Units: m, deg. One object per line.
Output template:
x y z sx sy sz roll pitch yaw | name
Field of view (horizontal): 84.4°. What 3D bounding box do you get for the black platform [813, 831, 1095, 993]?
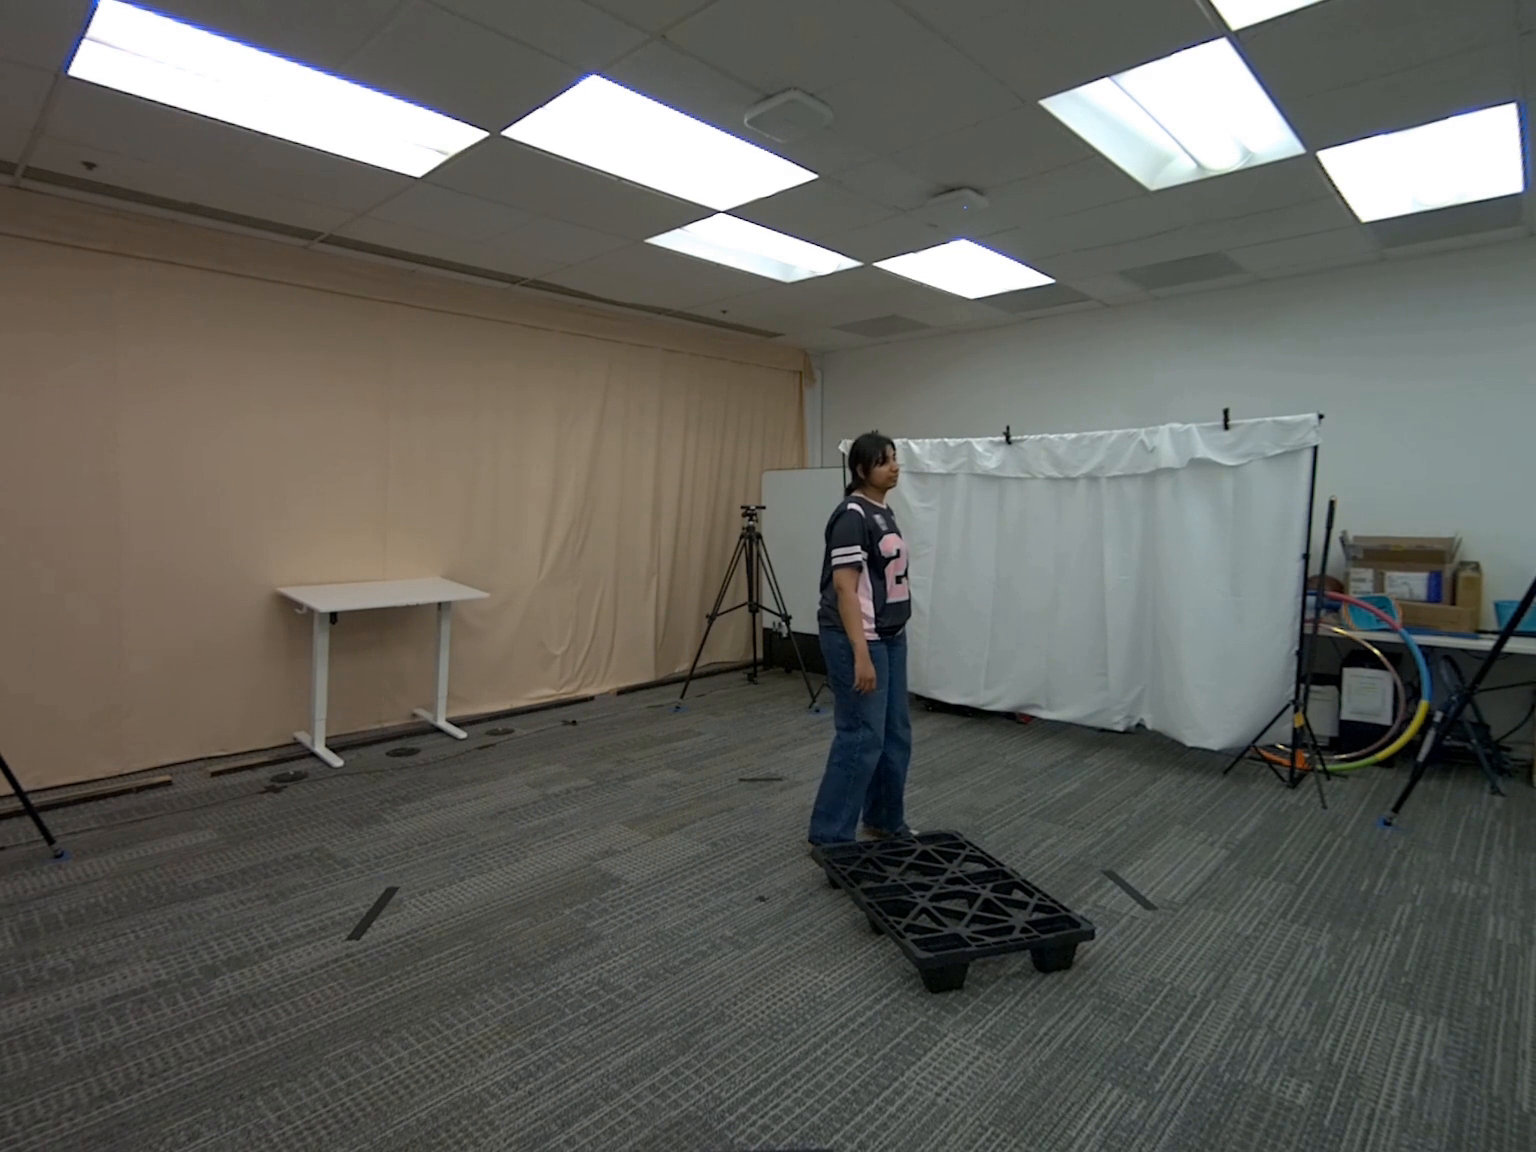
0.573 1.085 2.812 0.595 0.143 0.821 -1 5 -17 | black platform
